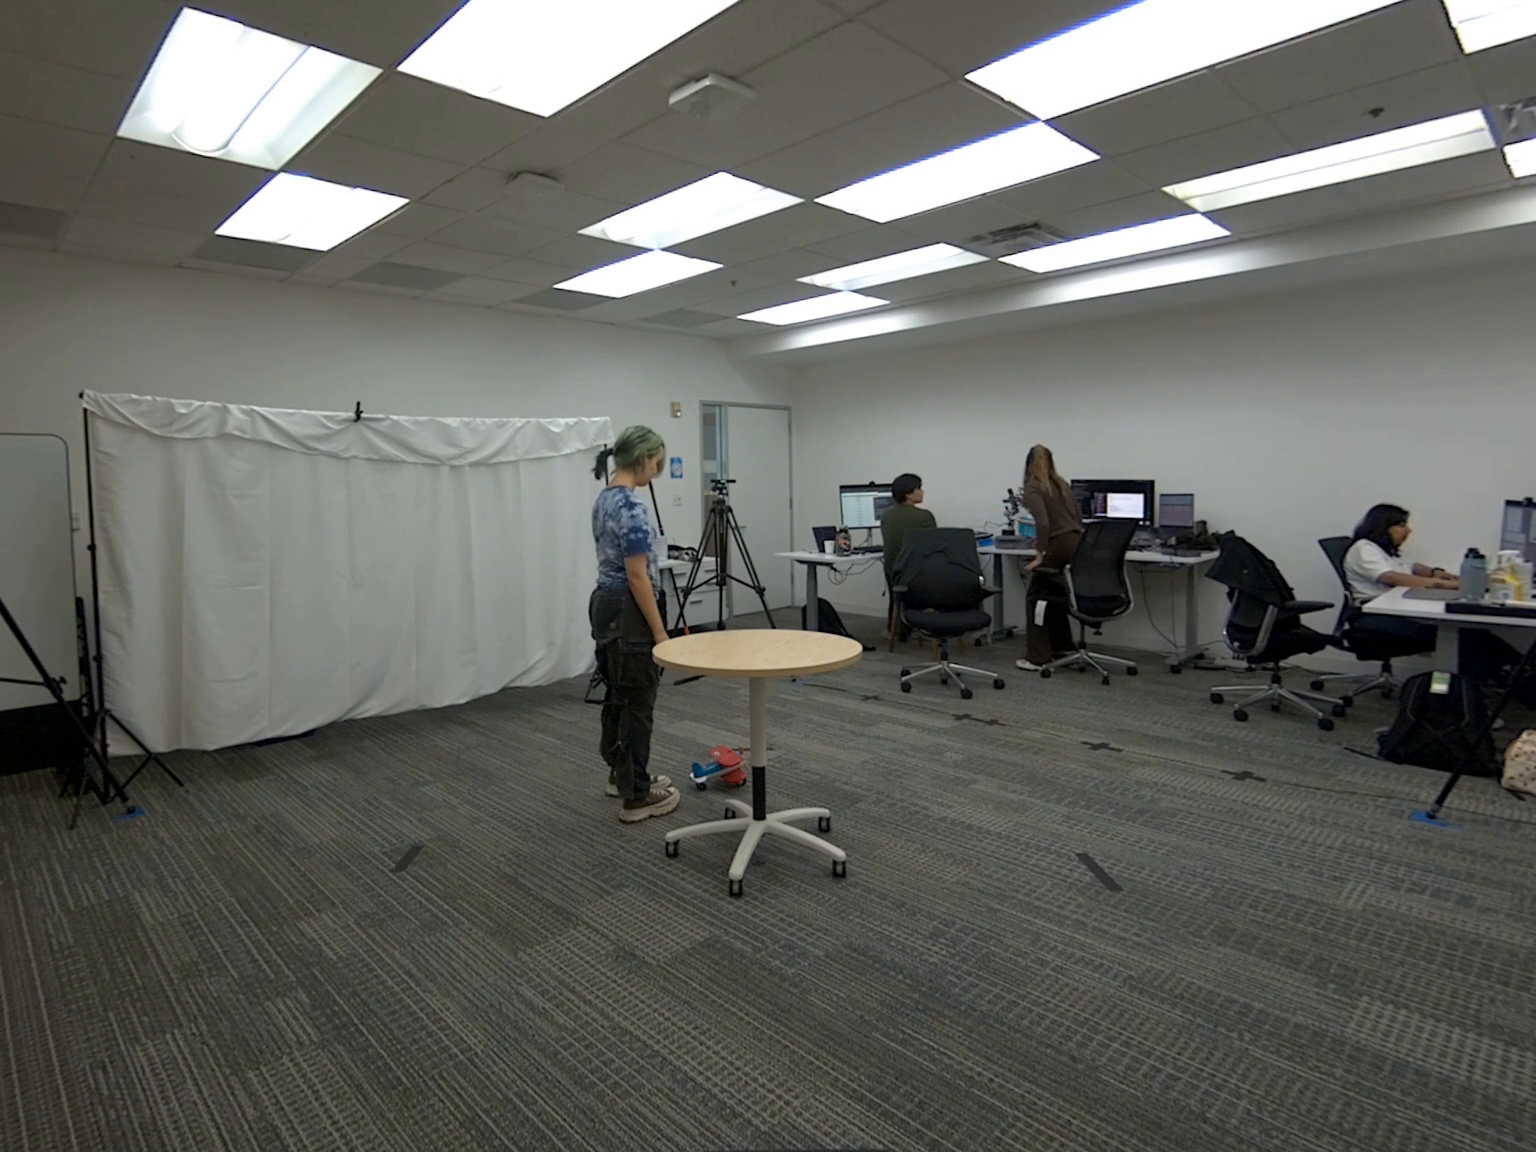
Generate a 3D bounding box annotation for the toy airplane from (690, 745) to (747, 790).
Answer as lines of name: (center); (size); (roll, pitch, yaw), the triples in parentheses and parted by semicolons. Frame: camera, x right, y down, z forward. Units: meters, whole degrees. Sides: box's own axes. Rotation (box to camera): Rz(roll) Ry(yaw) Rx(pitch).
toy airplane: (-0.216, 0.882, 3.885); (0.258, 0.156, 0.252); (3, 5, 37)
